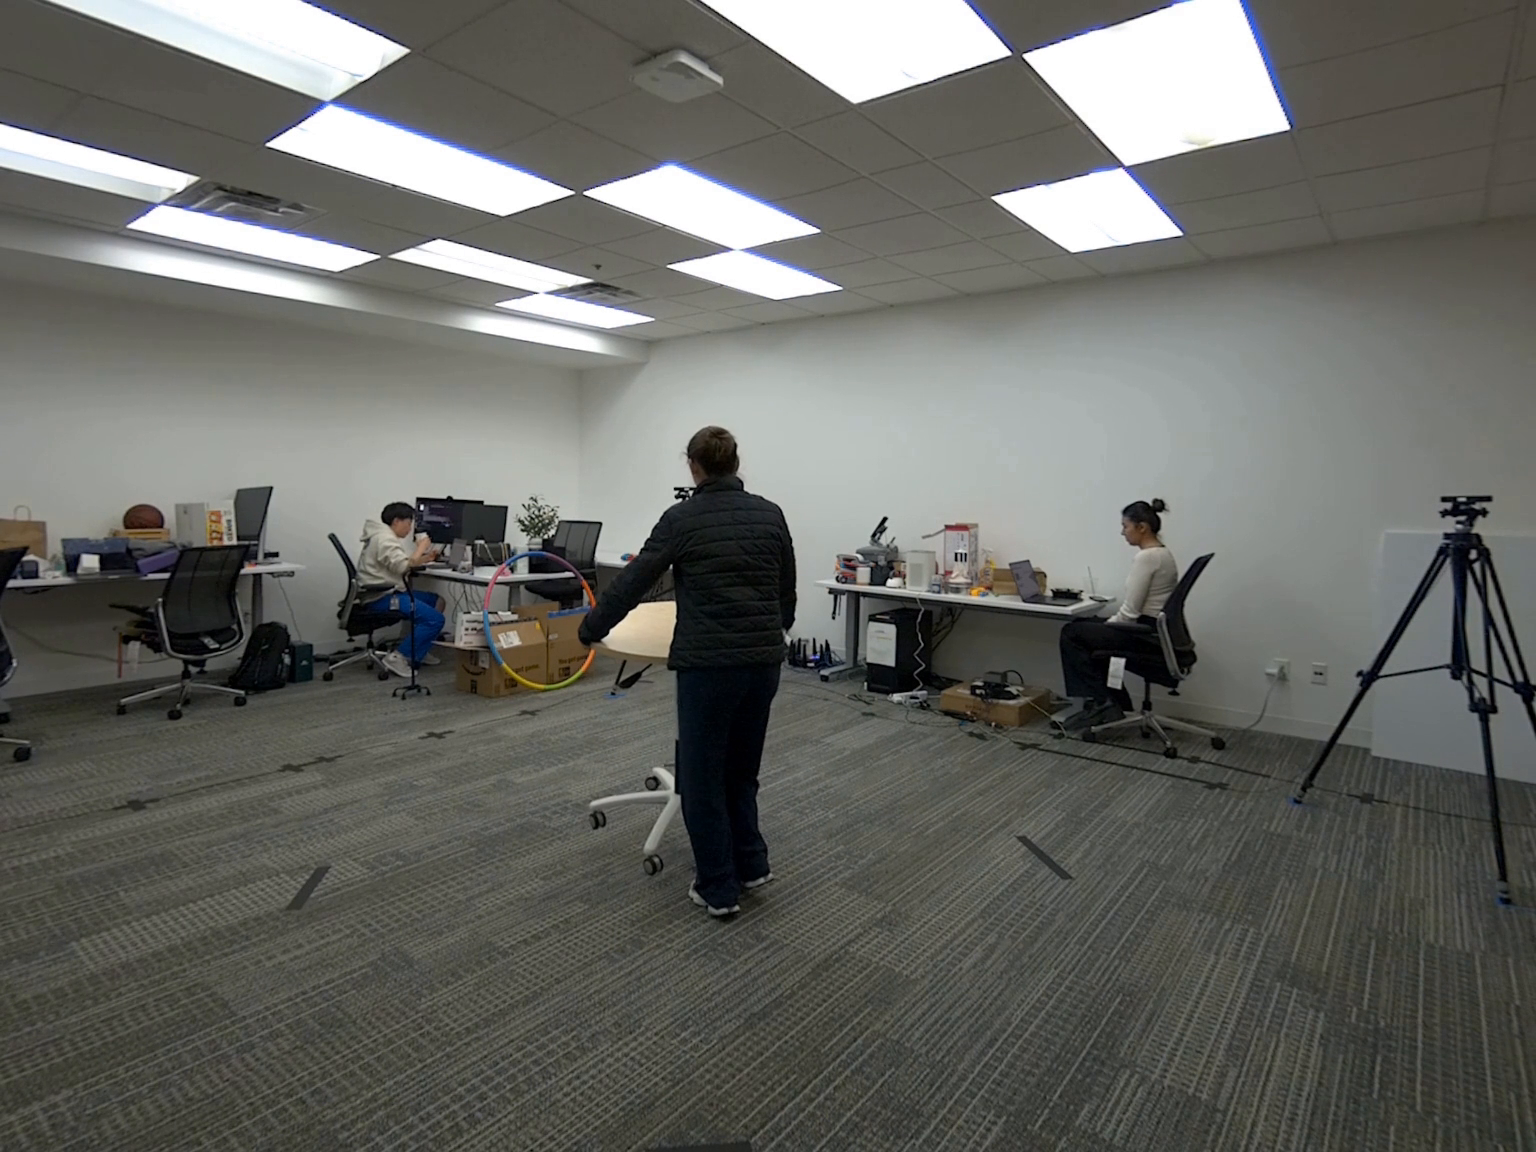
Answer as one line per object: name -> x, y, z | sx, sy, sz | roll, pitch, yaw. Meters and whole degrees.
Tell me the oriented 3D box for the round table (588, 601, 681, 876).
round table -> -0.296, 0.576, 3.250 | 0.784, 0.779, 0.794 | 1, 10, -2
